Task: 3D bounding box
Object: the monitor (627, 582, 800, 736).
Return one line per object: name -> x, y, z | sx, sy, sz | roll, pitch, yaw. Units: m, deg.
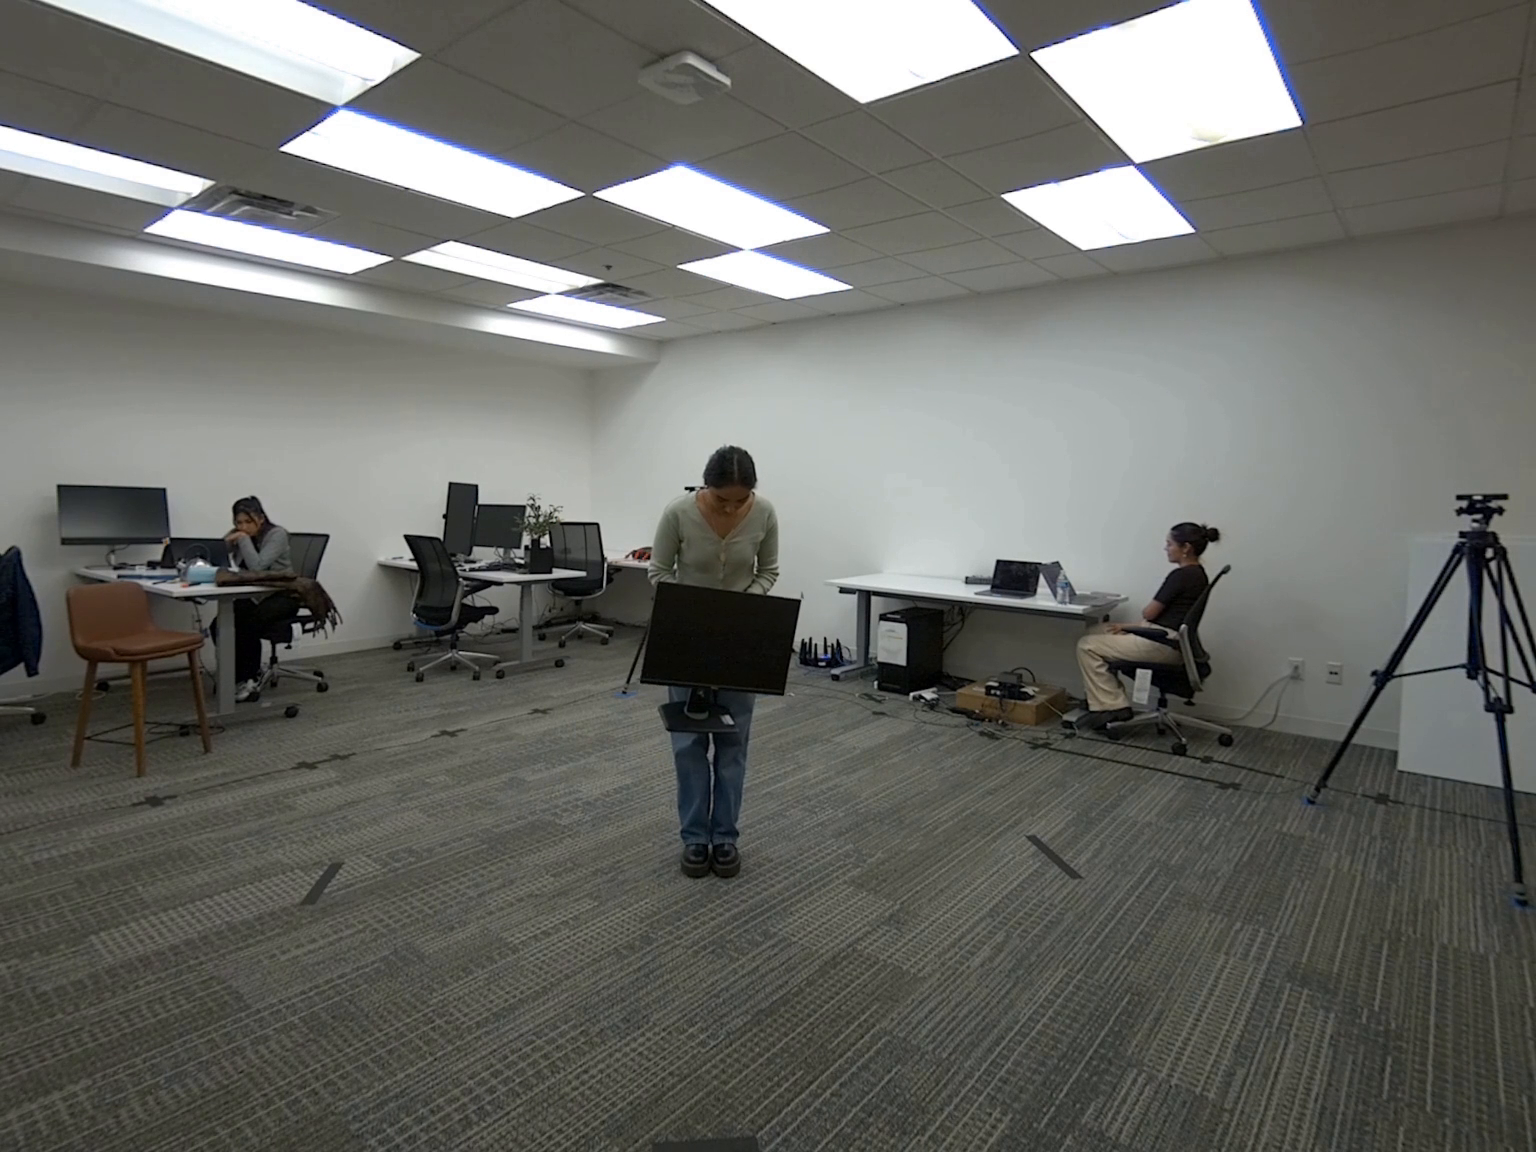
monitor -> -0.205, 0.286, 2.995 | 0.517, 0.510, 0.181 | 8, 23, -21
